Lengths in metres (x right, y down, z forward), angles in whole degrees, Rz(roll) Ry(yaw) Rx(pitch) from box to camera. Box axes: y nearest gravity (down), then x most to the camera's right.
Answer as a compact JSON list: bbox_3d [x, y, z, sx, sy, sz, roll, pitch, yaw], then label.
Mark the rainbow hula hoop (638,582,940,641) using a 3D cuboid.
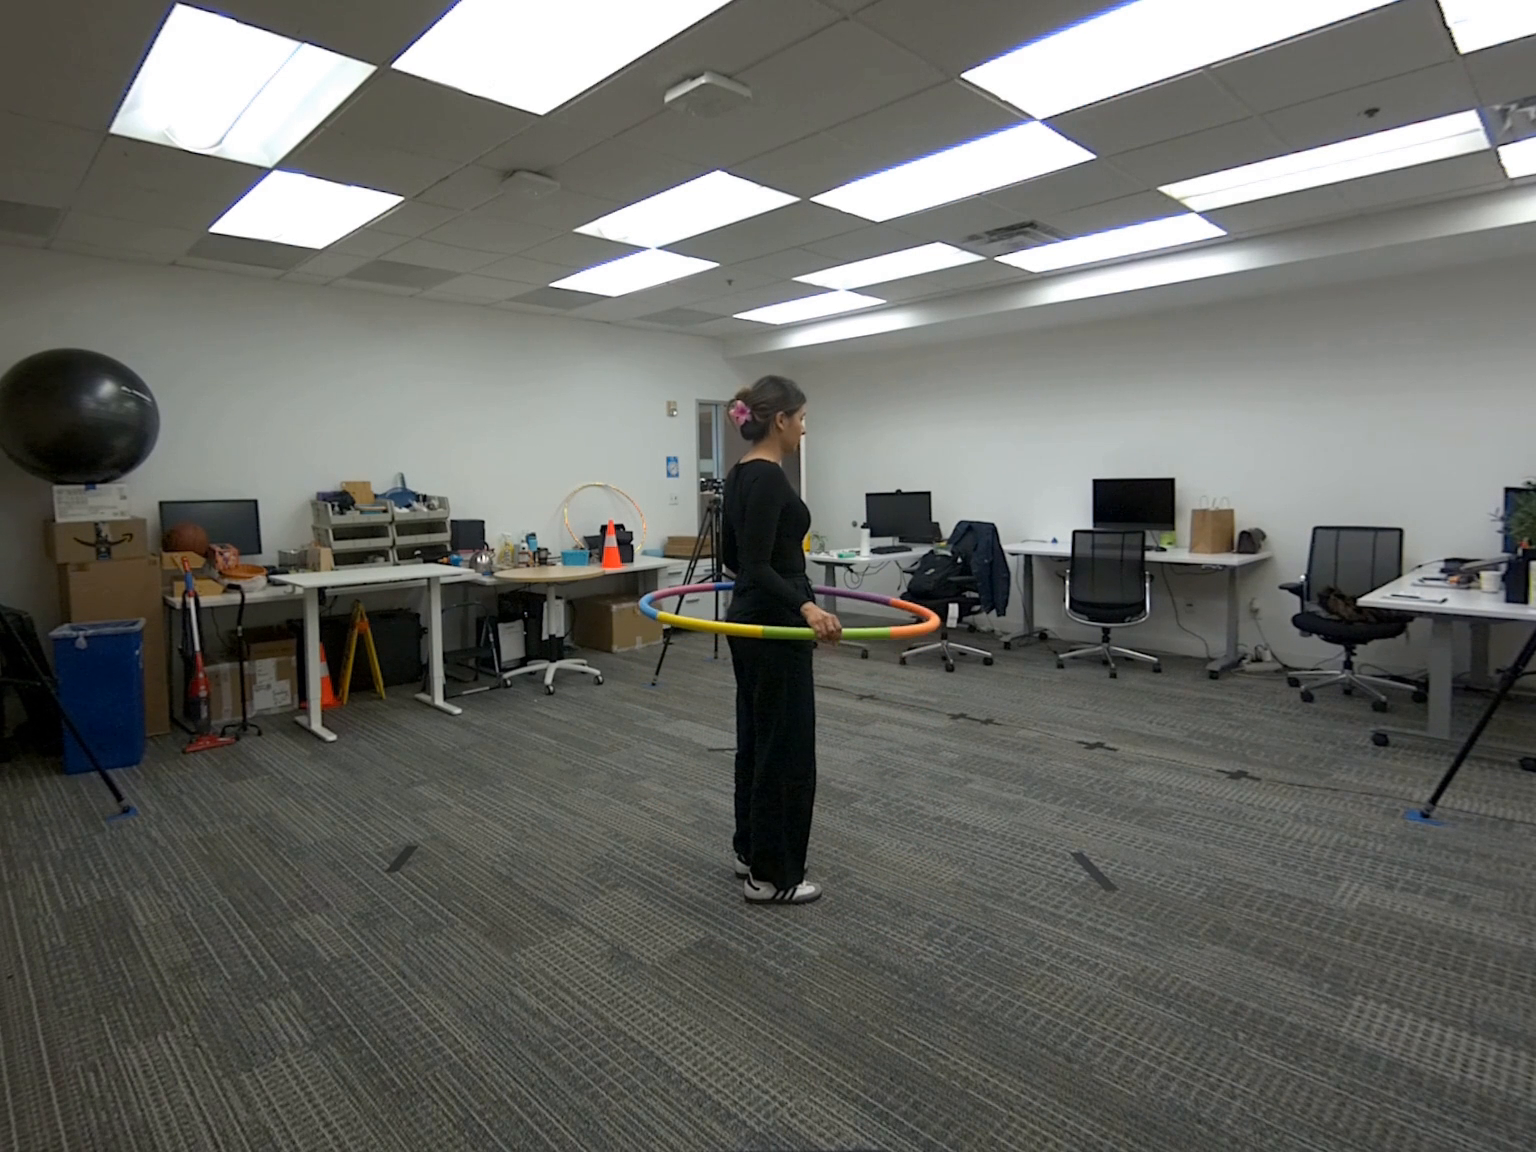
[{"bbox_3d":[0.060,0.103,2.859,0.978,0.035,0.985,3,7,-2],"label":"rainbow hula hoop"}]
